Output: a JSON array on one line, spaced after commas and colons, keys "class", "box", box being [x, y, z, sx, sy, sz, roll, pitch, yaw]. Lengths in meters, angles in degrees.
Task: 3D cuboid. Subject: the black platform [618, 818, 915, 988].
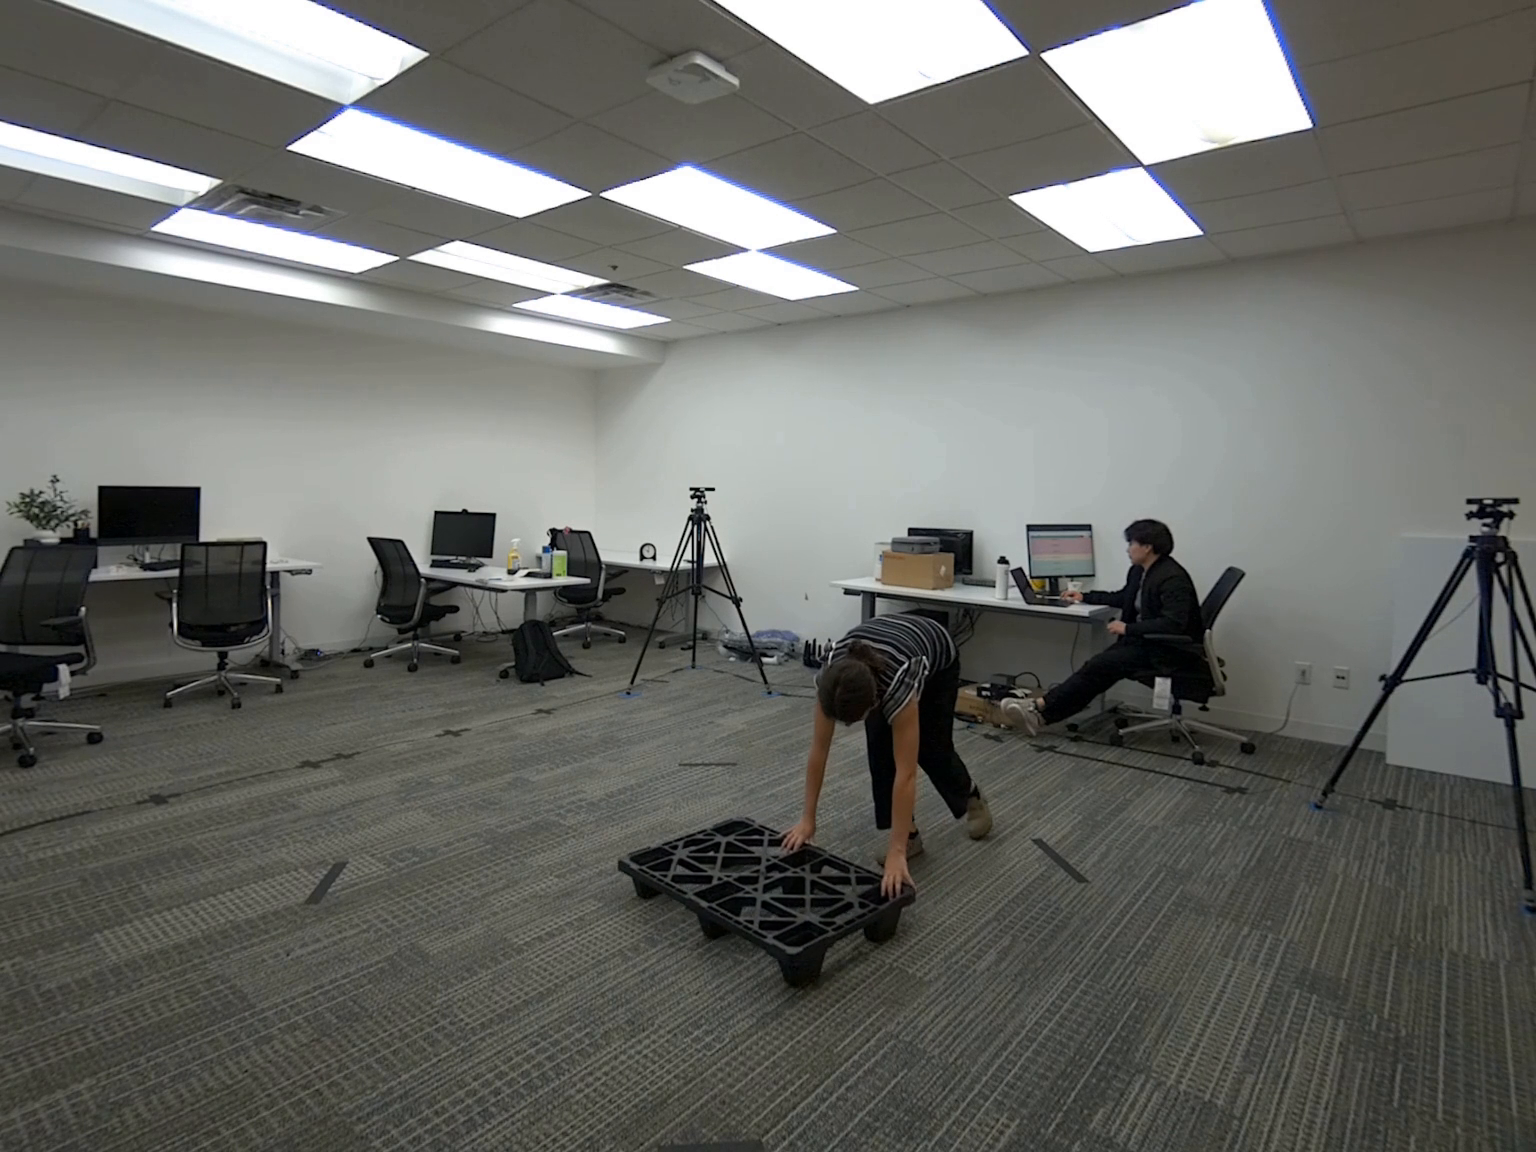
[{"class": "black platform", "box": [-0.031, 1.035, 2.785, 0.587, 0.143, 0.833, -5, 8, -44]}]
